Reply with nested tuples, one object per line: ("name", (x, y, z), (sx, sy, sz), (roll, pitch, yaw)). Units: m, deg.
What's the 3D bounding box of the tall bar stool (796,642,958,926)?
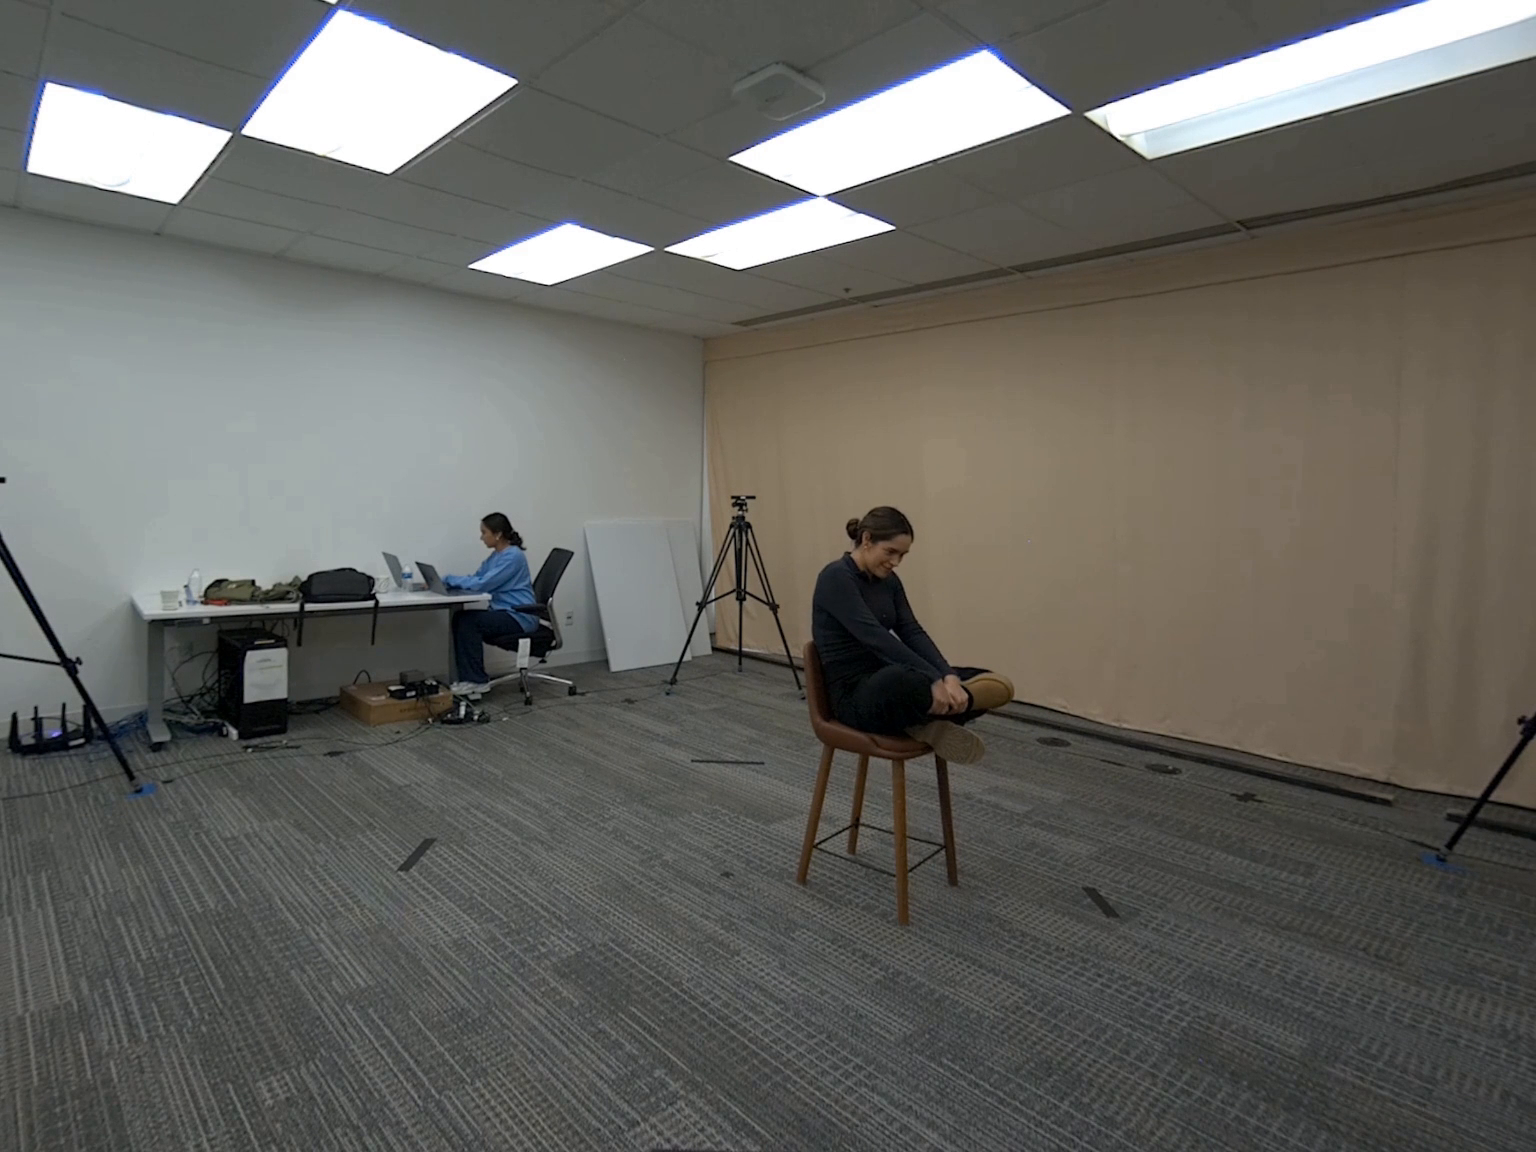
("tall bar stool", (0.393, 0.688, 3.036), (0.479, 0.889, 0.446), (2, 2, 39))
